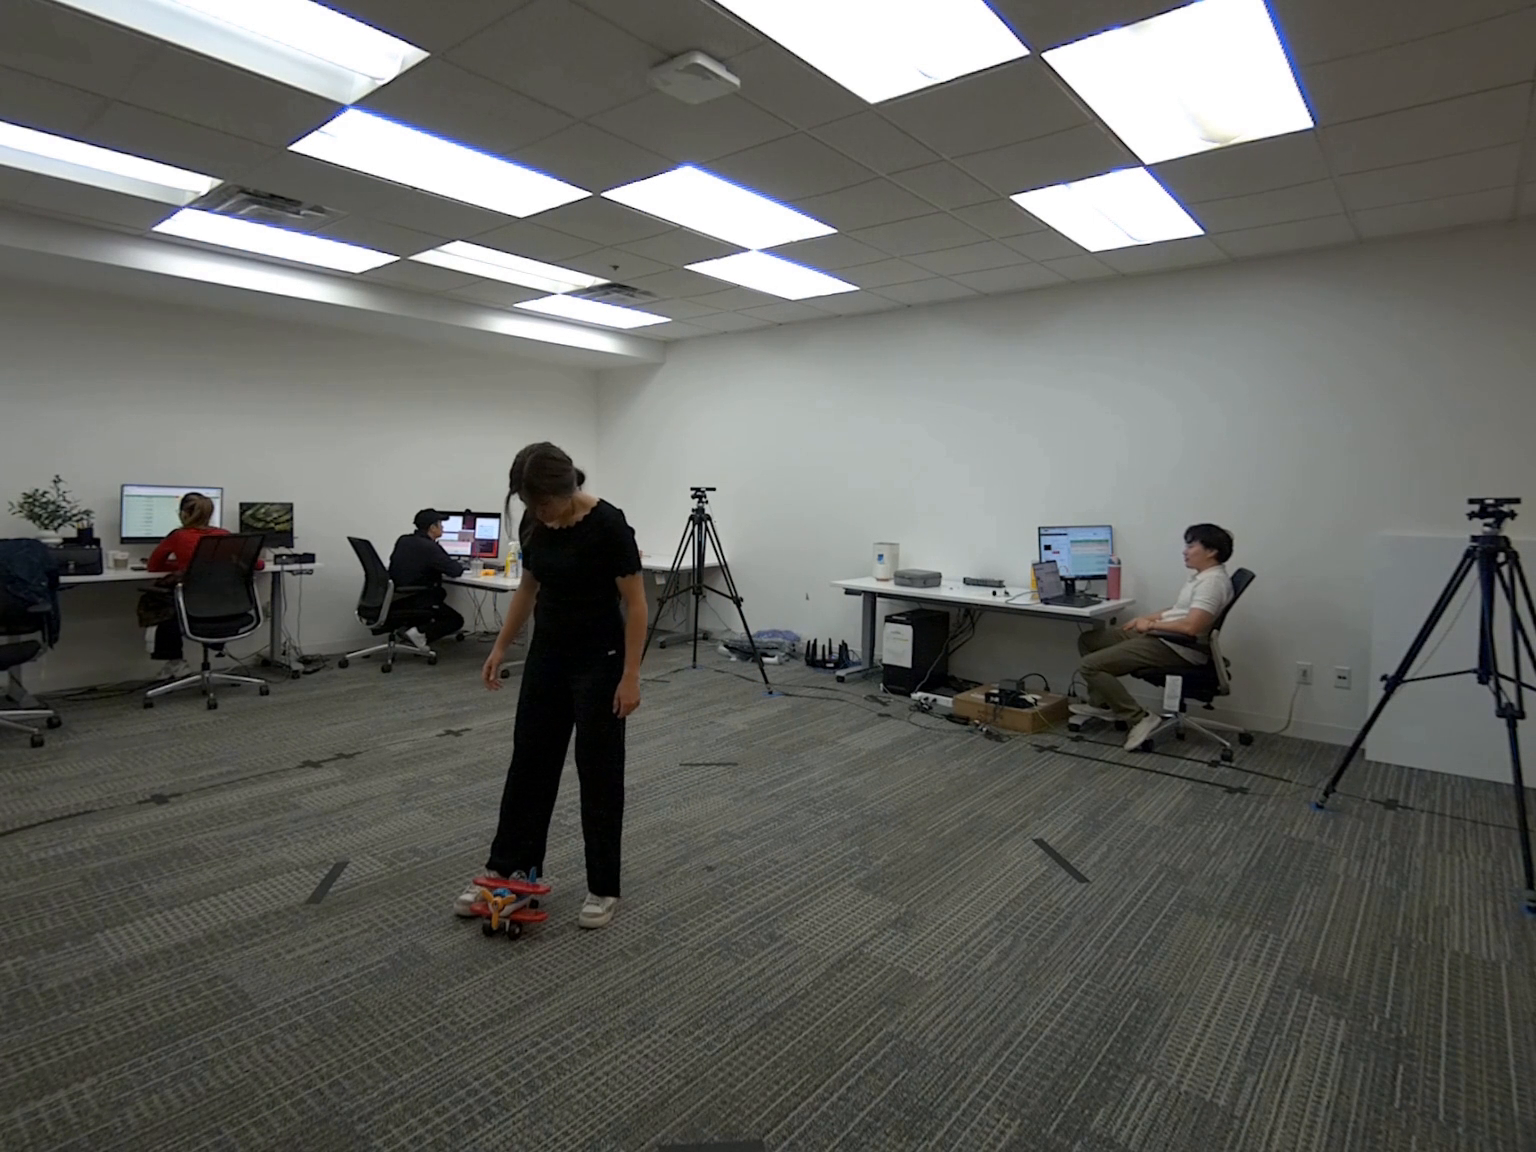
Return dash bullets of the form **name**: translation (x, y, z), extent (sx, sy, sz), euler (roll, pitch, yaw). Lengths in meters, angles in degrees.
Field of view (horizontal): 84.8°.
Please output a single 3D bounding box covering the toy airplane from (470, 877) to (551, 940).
- **toy airplane**: translation (-0.822, 1.019, 2.698), extent (0.247, 0.156, 0.264), euler (0, 6, -15)
